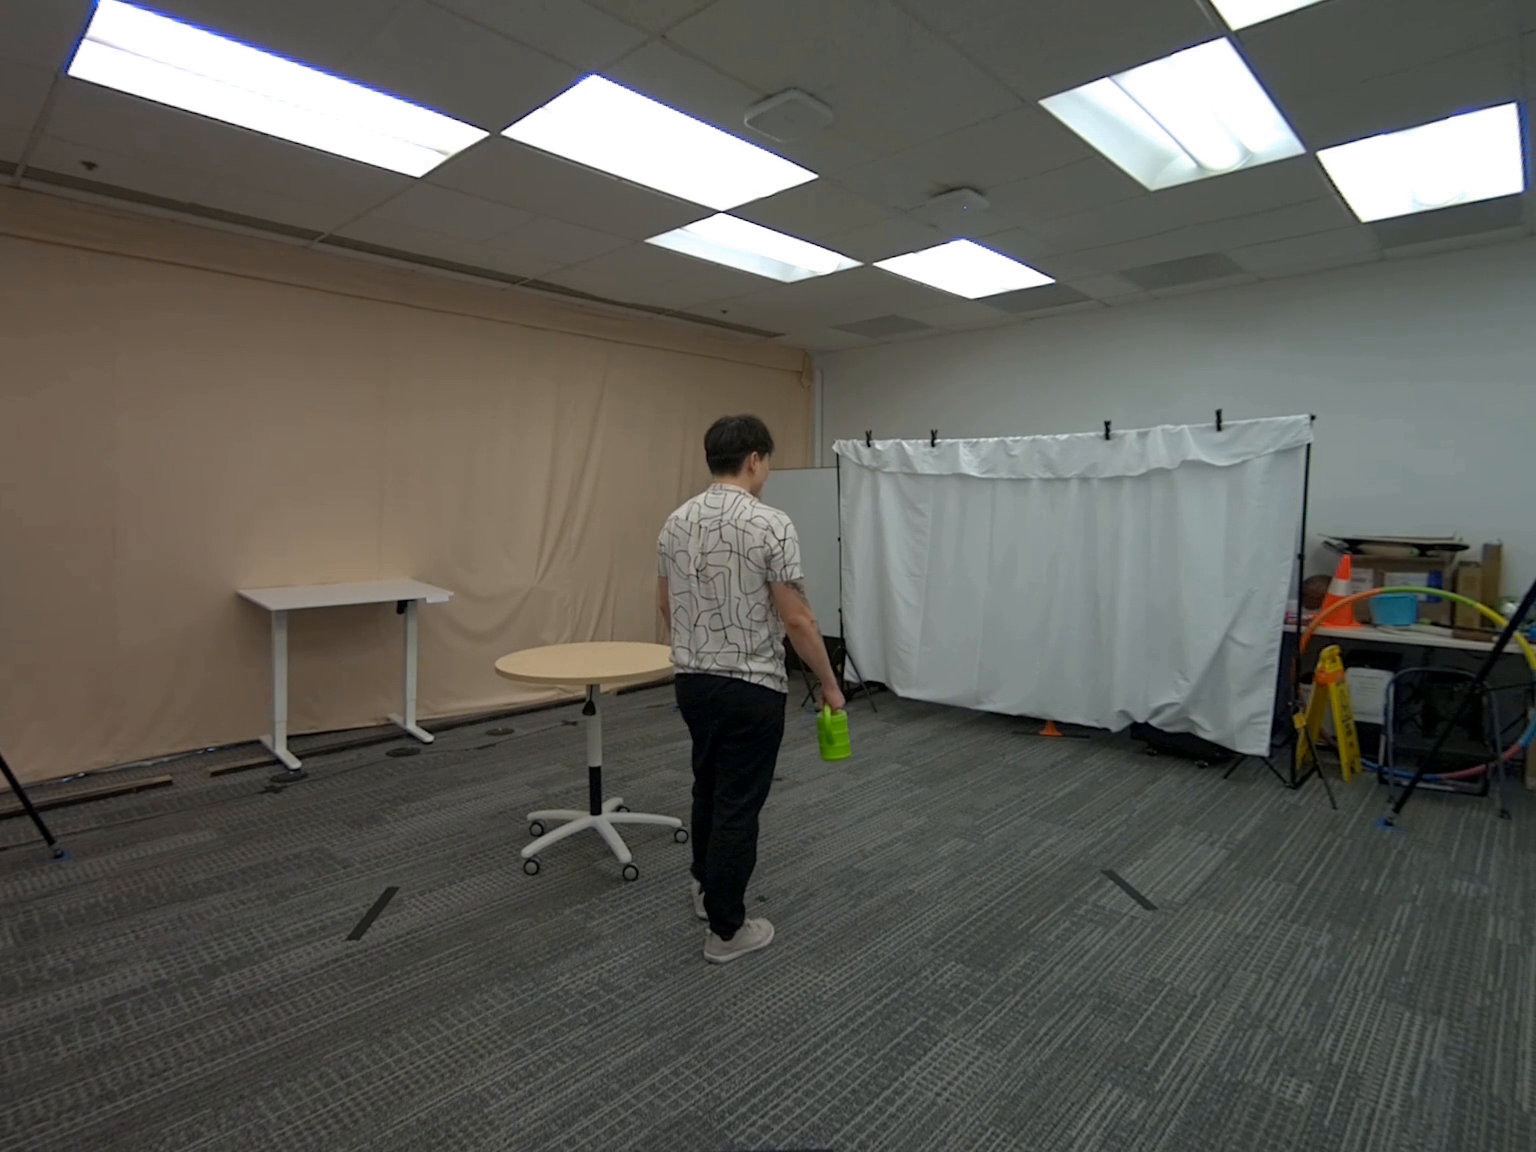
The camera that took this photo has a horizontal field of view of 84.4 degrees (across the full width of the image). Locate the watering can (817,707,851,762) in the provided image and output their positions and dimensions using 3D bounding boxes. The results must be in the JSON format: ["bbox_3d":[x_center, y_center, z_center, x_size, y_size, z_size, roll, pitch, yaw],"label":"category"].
[{"bbox_3d":[0.219,0.475,2.628,0.100,0.177,0.271,-4,-1,26],"label":"watering can"}]
